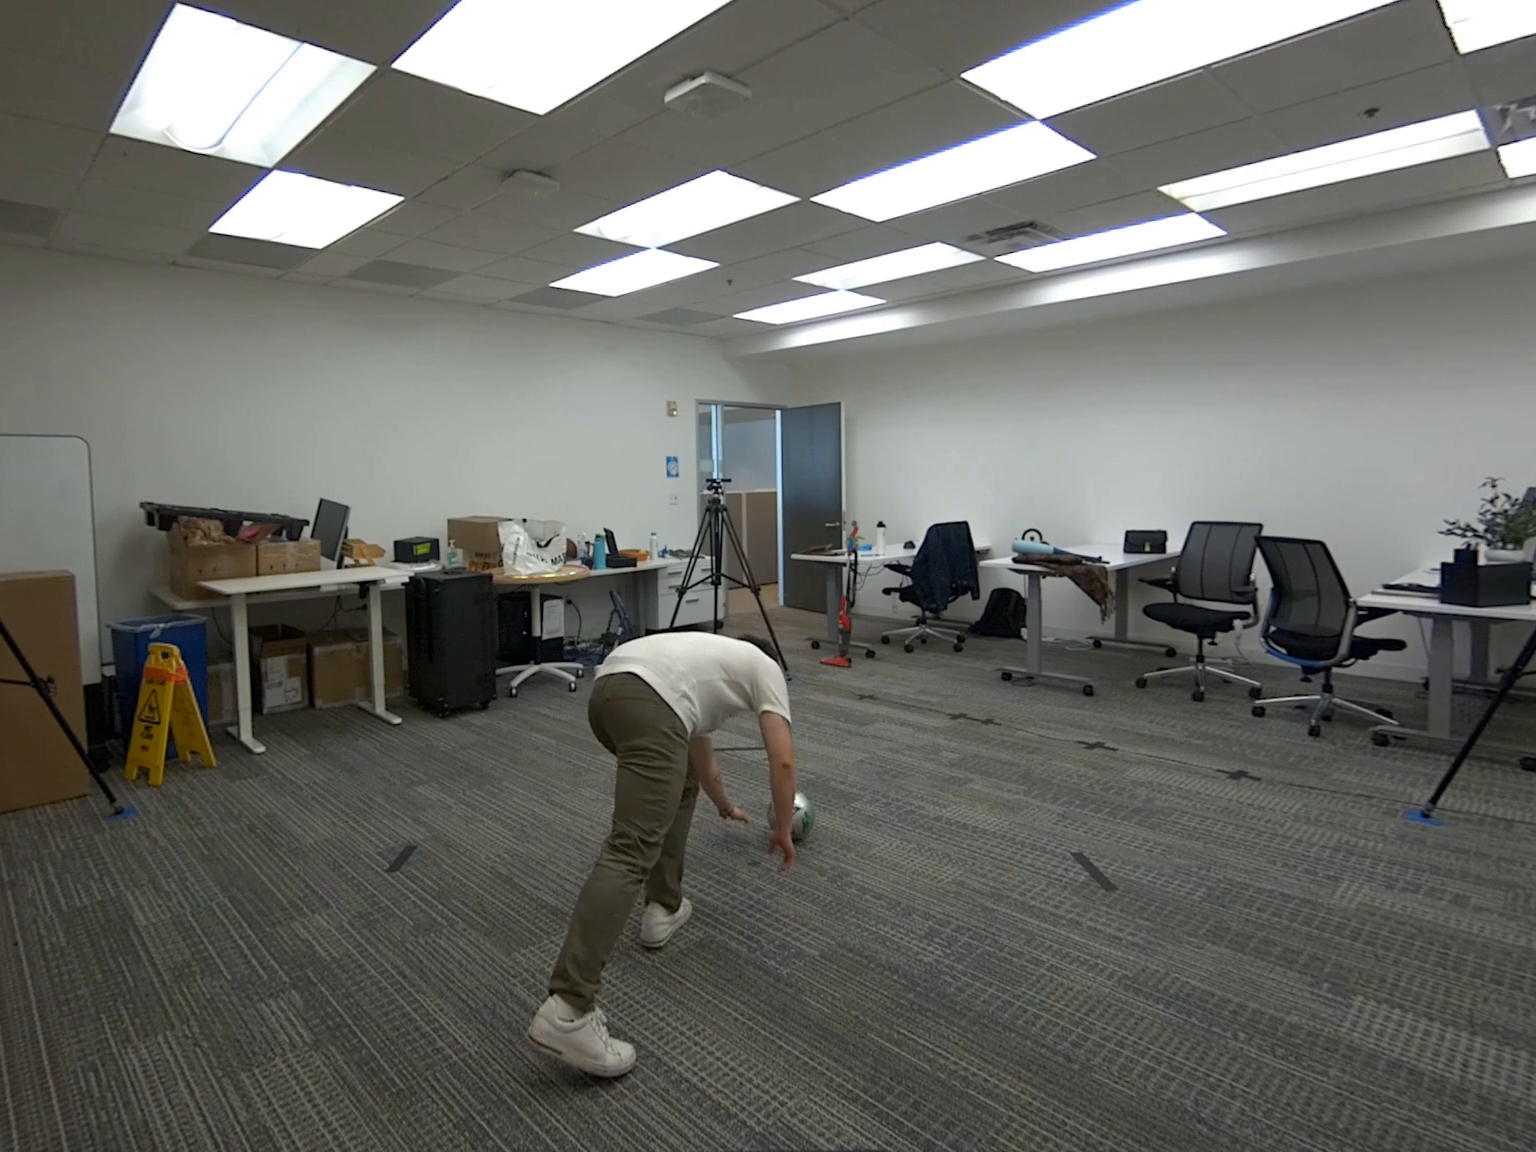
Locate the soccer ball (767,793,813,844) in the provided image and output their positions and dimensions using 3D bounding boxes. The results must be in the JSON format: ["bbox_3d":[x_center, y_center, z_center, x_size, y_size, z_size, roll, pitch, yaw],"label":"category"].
[{"bbox_3d":[0.087,0.923,3.312,0.187,0.187,0.188,-1,5,-2],"label":"soccer ball"}]
